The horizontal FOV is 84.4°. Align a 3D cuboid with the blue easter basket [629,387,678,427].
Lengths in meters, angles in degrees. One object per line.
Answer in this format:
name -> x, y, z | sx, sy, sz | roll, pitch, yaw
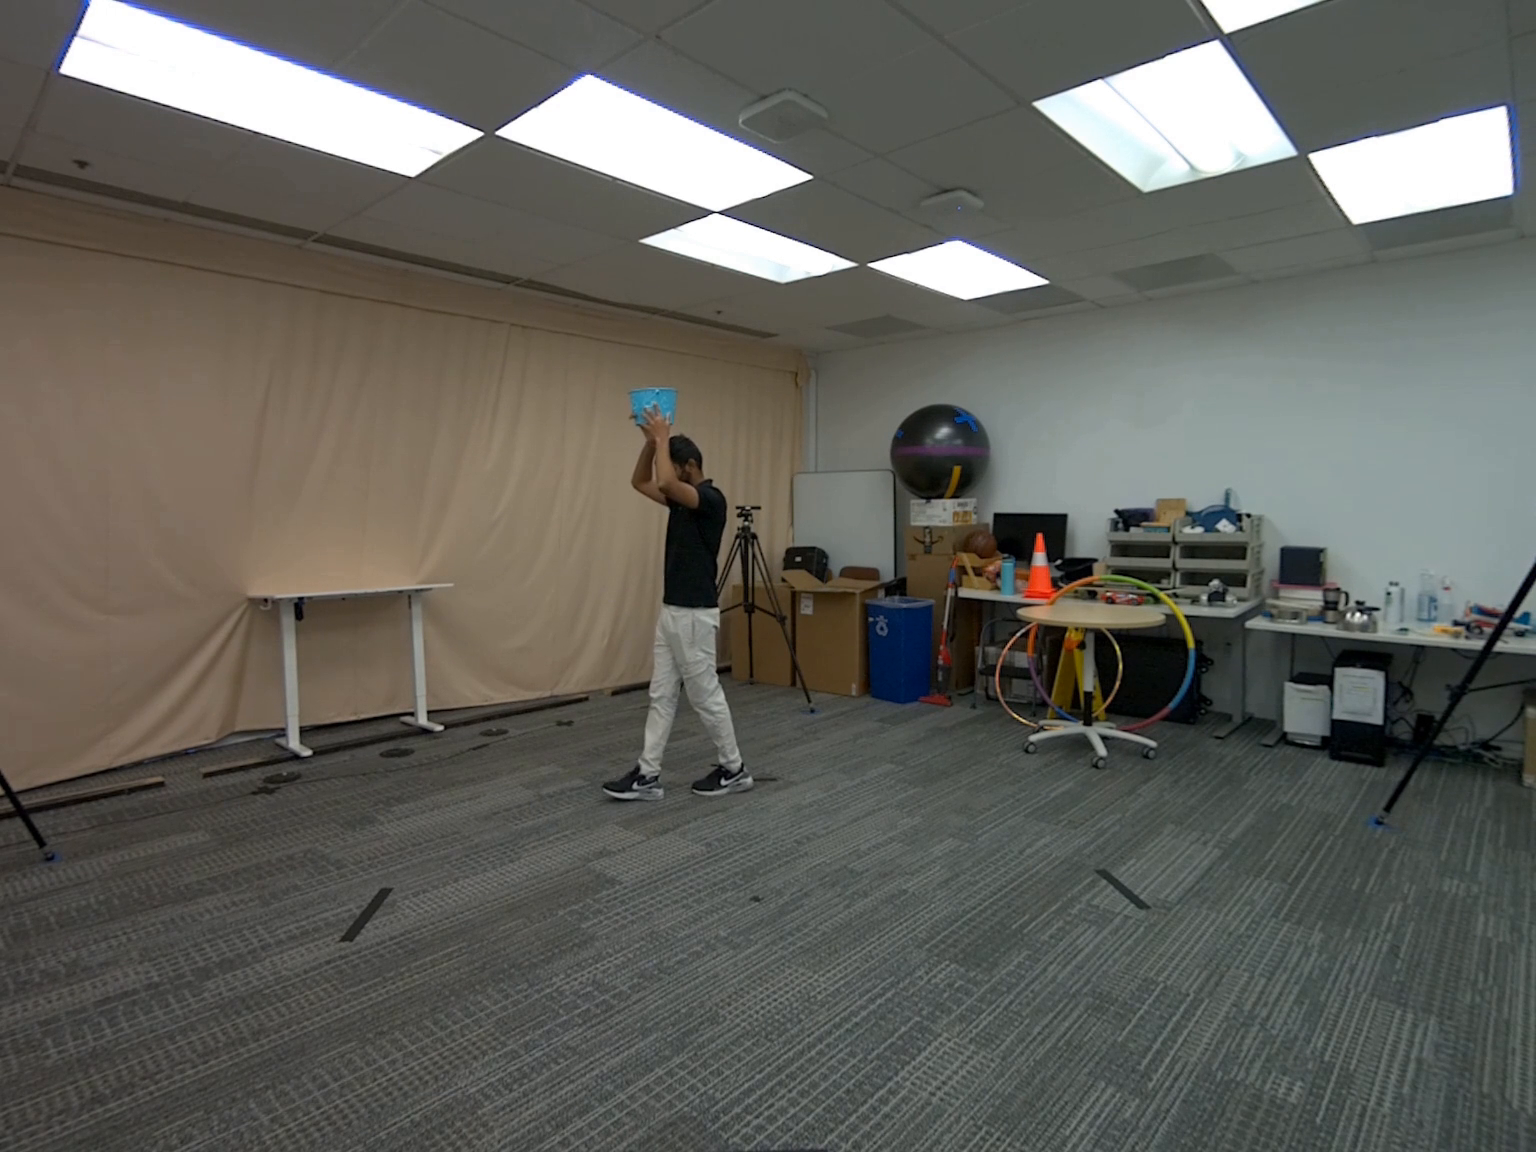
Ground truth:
blue easter basket -> -0.532, -0.789, 3.951 | 0.243, 0.155, 0.244 | -3, 5, -2
